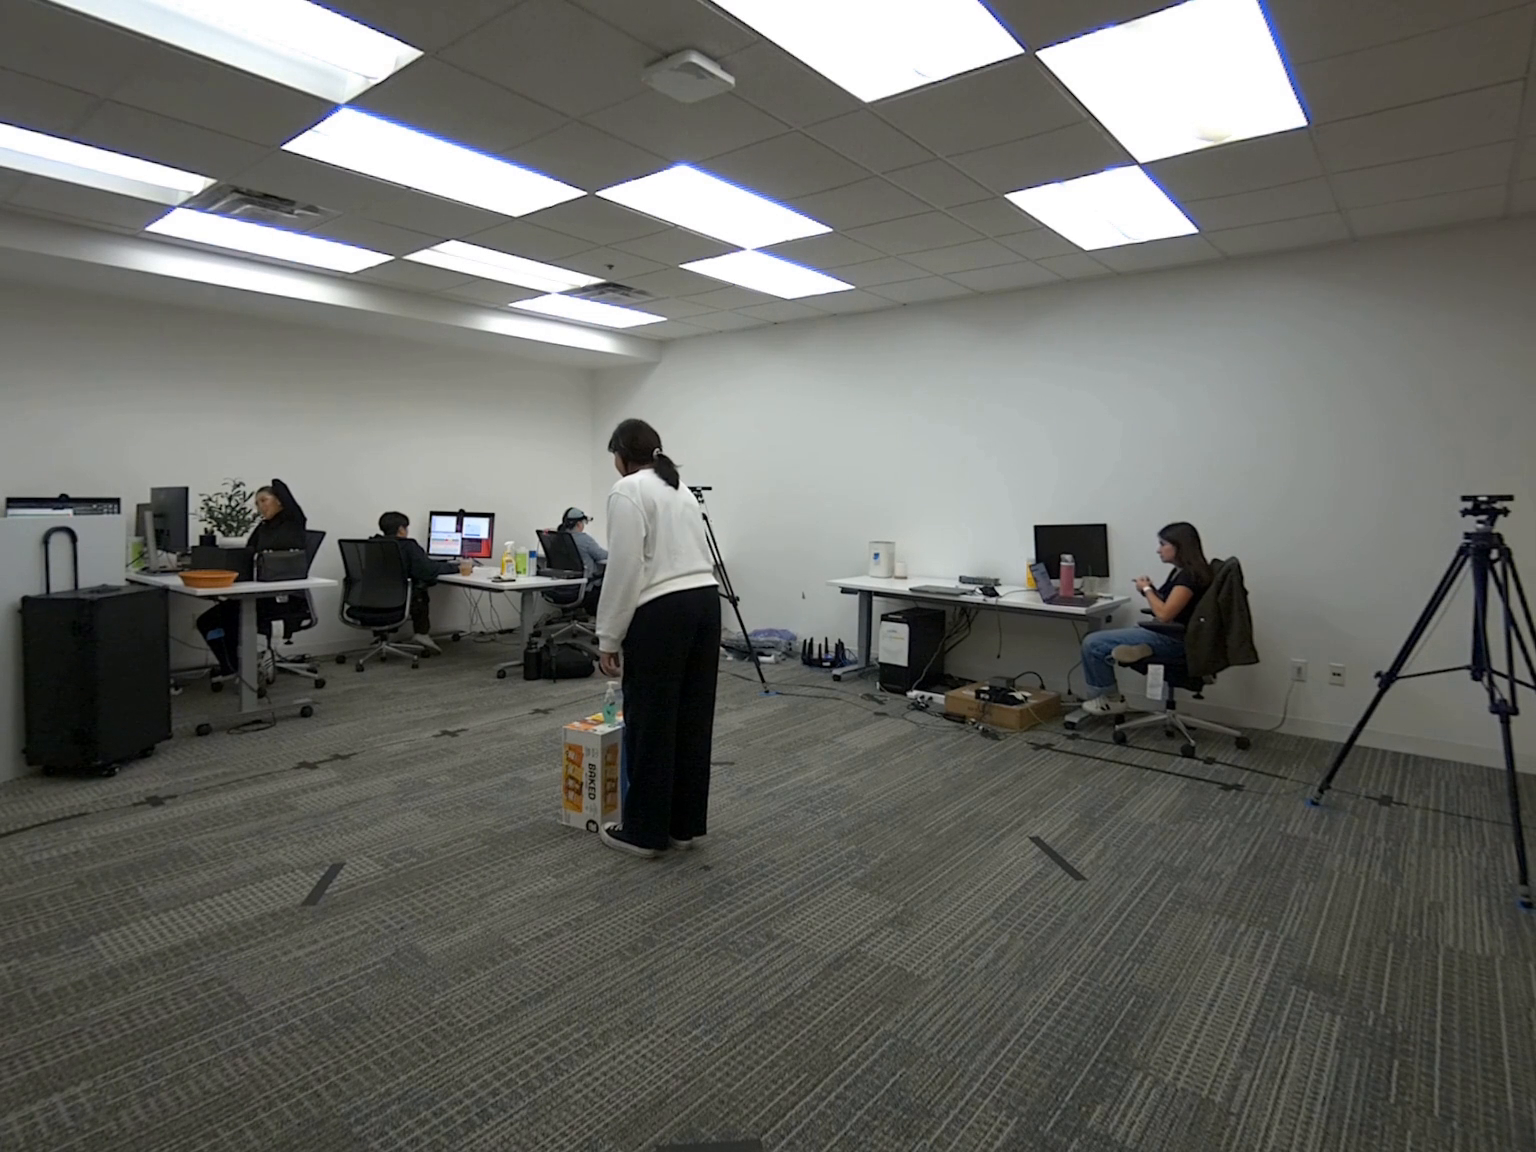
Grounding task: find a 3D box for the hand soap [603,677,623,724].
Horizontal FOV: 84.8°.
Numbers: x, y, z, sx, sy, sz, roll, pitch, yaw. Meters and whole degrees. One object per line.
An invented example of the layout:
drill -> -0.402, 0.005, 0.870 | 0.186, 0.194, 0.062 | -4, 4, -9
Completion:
hand soap -> -0.654, 0.525, 3.564 | 0.045, 0.167, 0.082 | 3, 7, 30
